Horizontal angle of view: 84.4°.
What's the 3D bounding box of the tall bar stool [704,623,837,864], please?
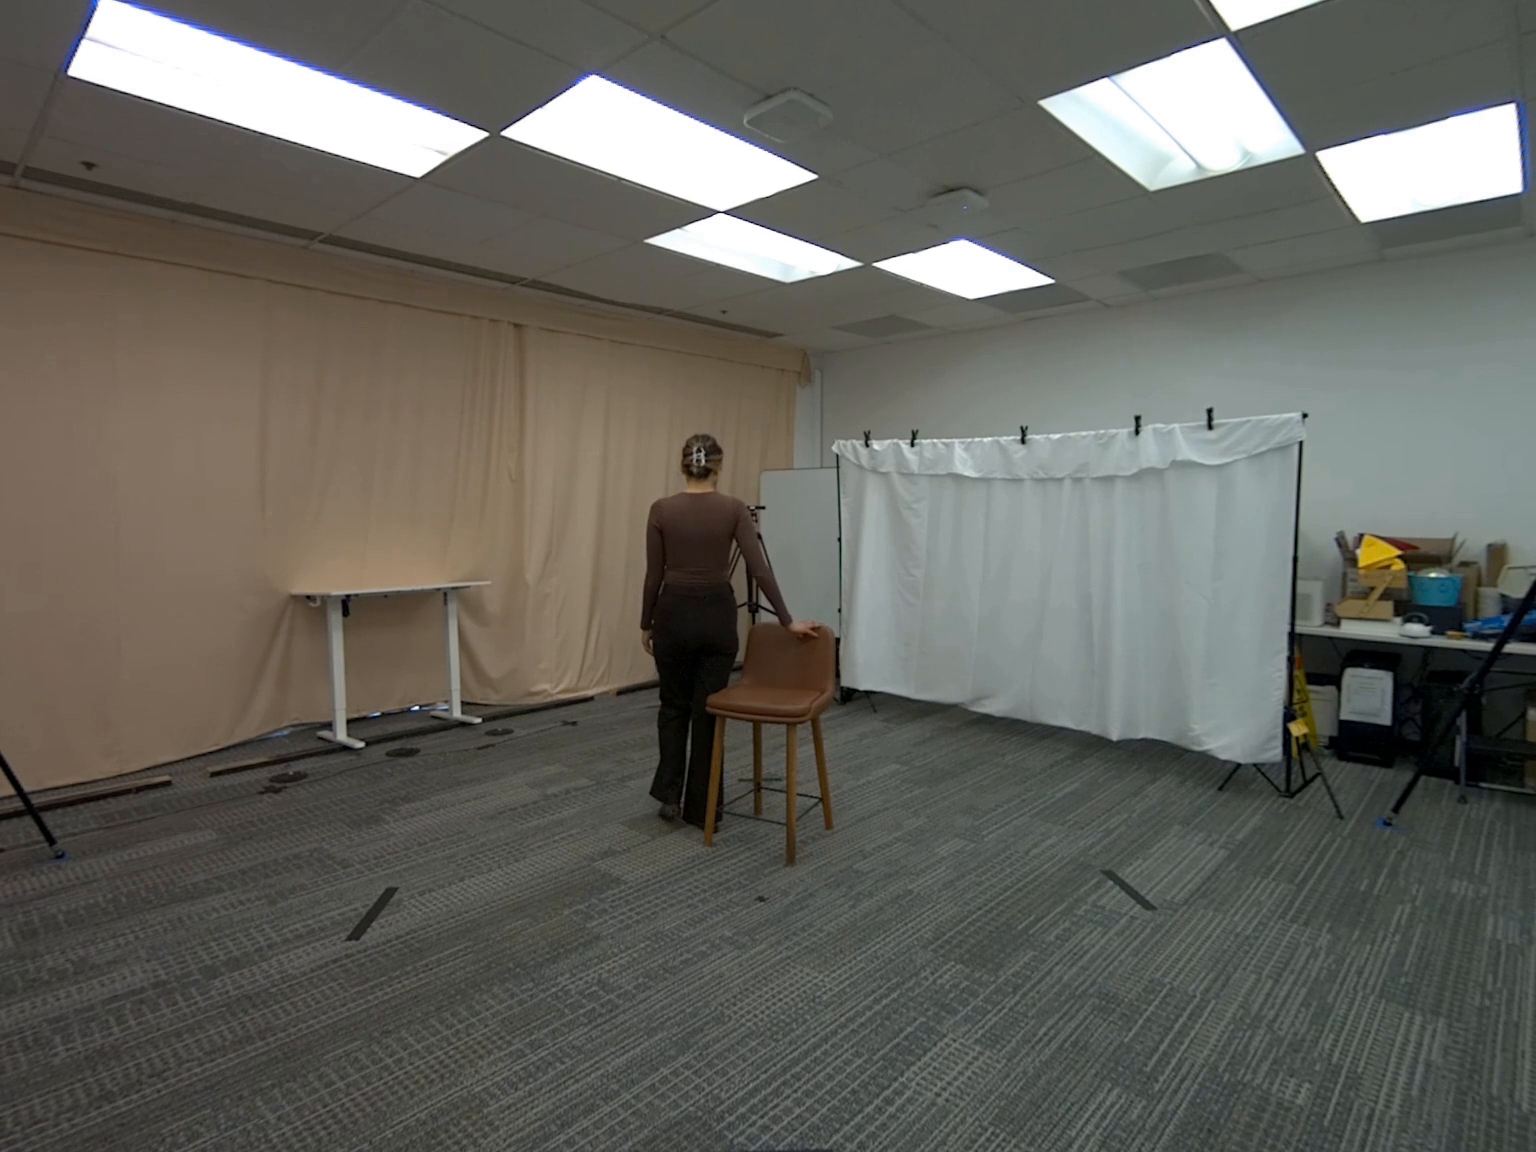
[{"bbox_3d":[0.028,0.662,3.520,0.469,0.889,0.455,2,2,29],"label":"tall bar stool"}]
